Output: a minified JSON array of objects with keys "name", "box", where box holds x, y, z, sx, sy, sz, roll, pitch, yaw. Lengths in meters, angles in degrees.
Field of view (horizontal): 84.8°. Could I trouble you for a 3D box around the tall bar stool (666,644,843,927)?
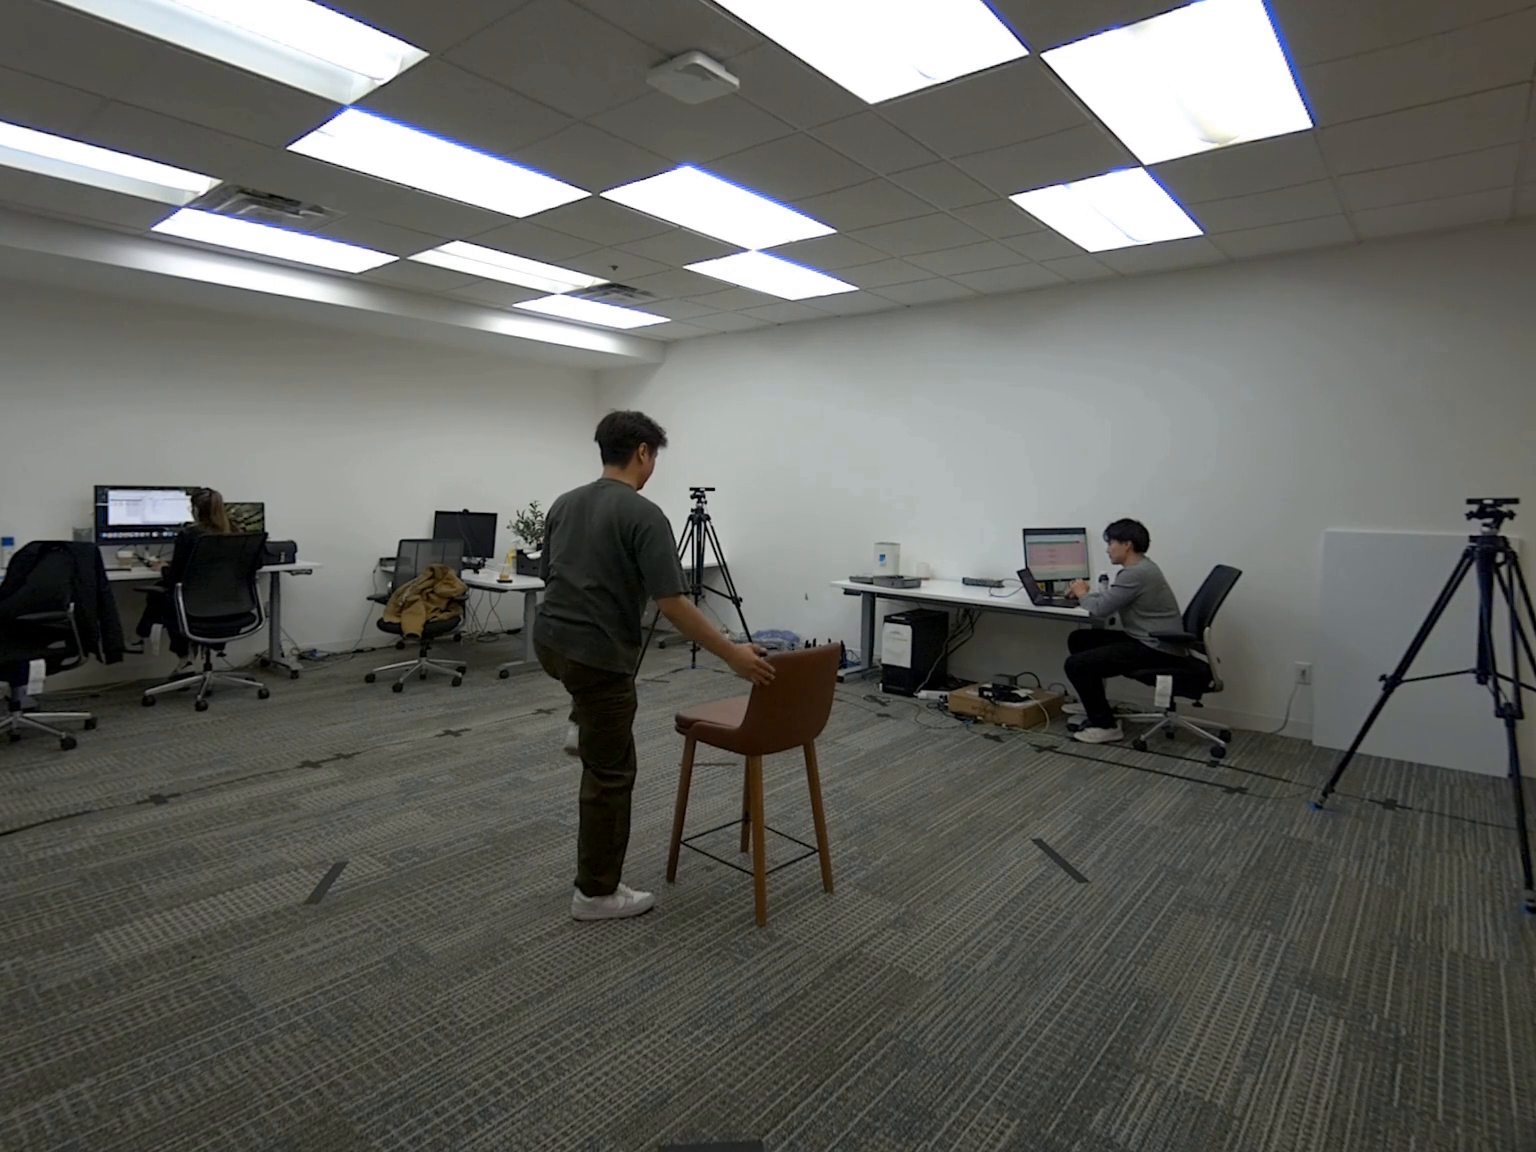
[{"name":"tall bar stool","box":[-0.052,0.650,2.959,0.484,0.886,0.442,7,6,43]}]
